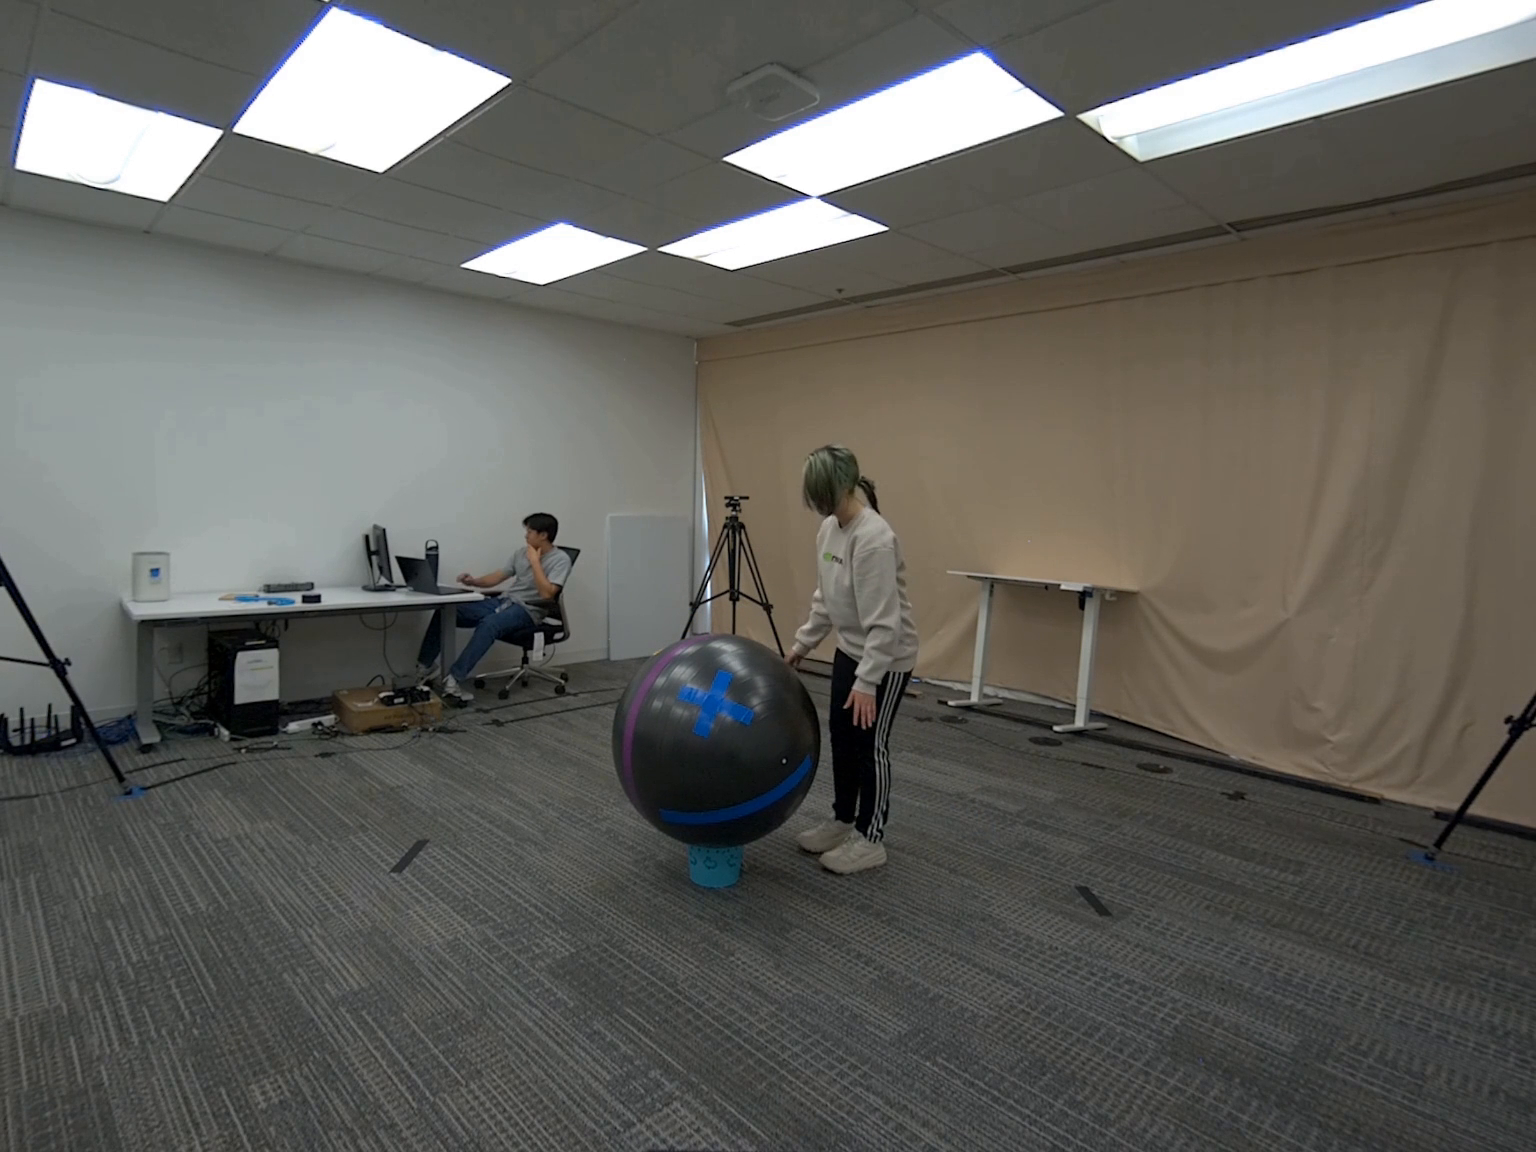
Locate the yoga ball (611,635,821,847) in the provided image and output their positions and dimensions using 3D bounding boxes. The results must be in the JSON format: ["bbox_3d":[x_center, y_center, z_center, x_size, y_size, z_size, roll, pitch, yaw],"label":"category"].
[{"bbox_3d":[-0.199,0.597,3.065,0.757,0.756,0.761,1,4,-1],"label":"yoga ball"}]
